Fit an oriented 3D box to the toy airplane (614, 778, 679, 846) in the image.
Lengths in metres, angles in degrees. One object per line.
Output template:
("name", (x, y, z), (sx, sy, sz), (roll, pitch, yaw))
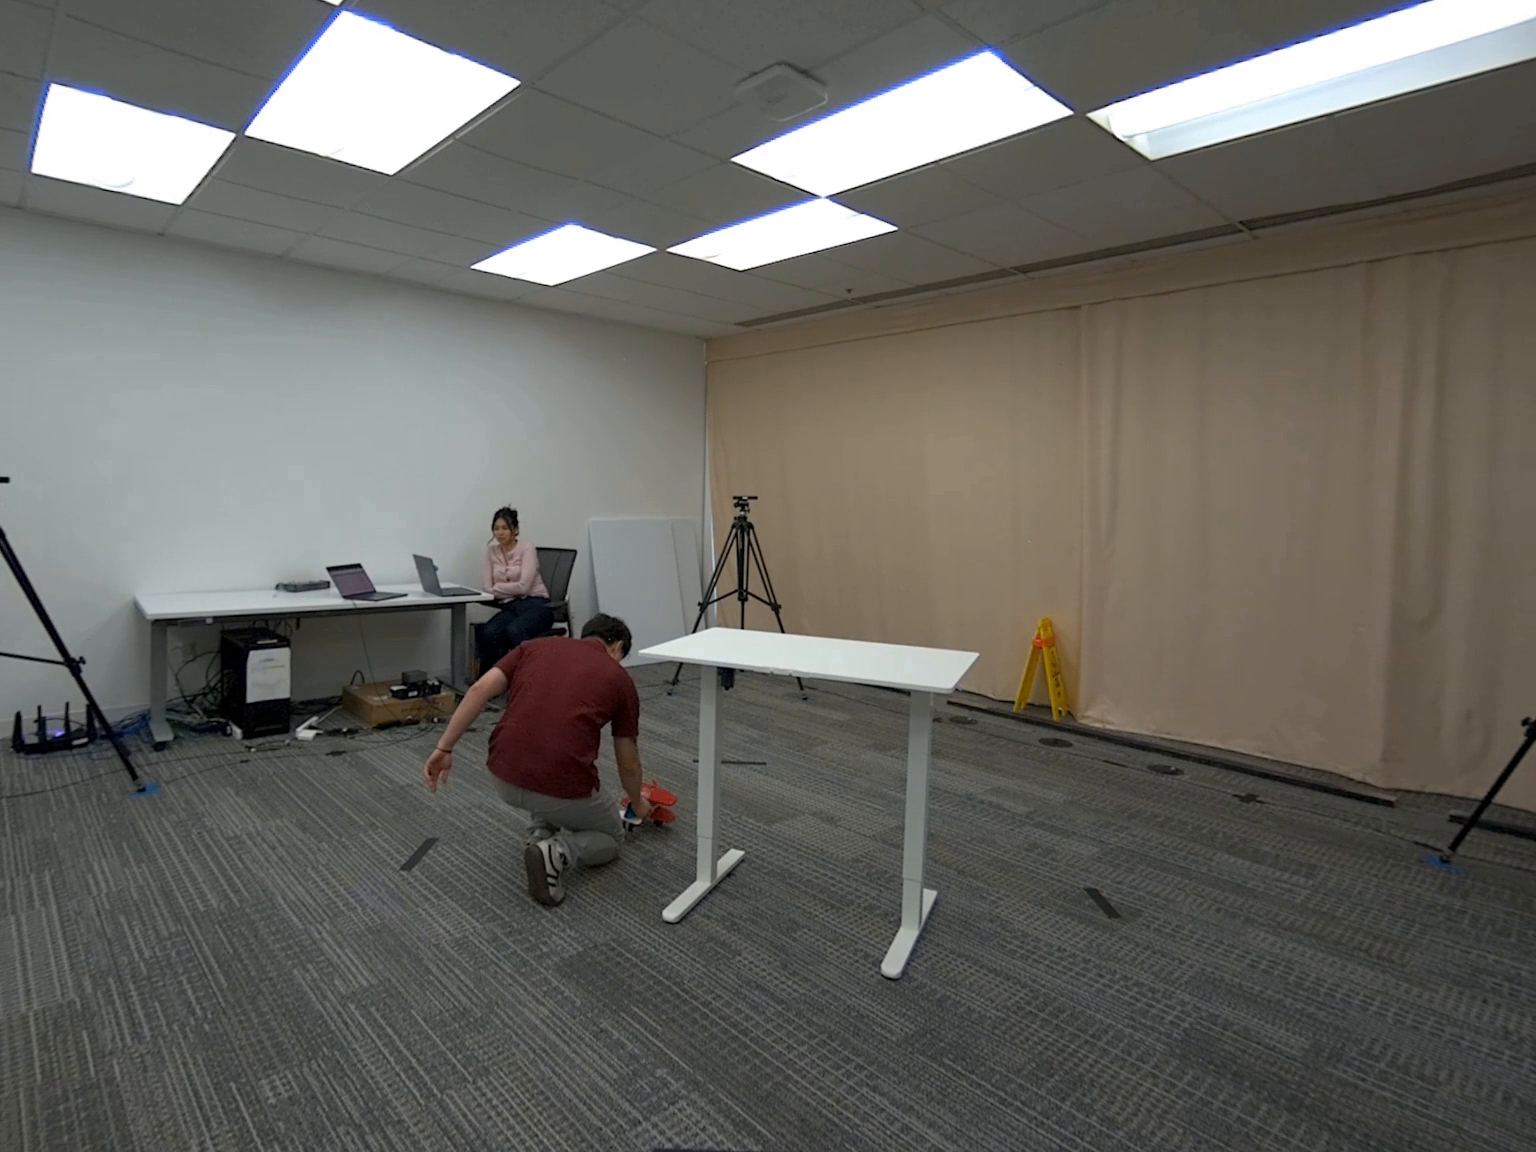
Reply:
("toy airplane", (-0.513, 0.971, 3.500), (0.250, 0.156, 0.260), (11, 1, -6))
